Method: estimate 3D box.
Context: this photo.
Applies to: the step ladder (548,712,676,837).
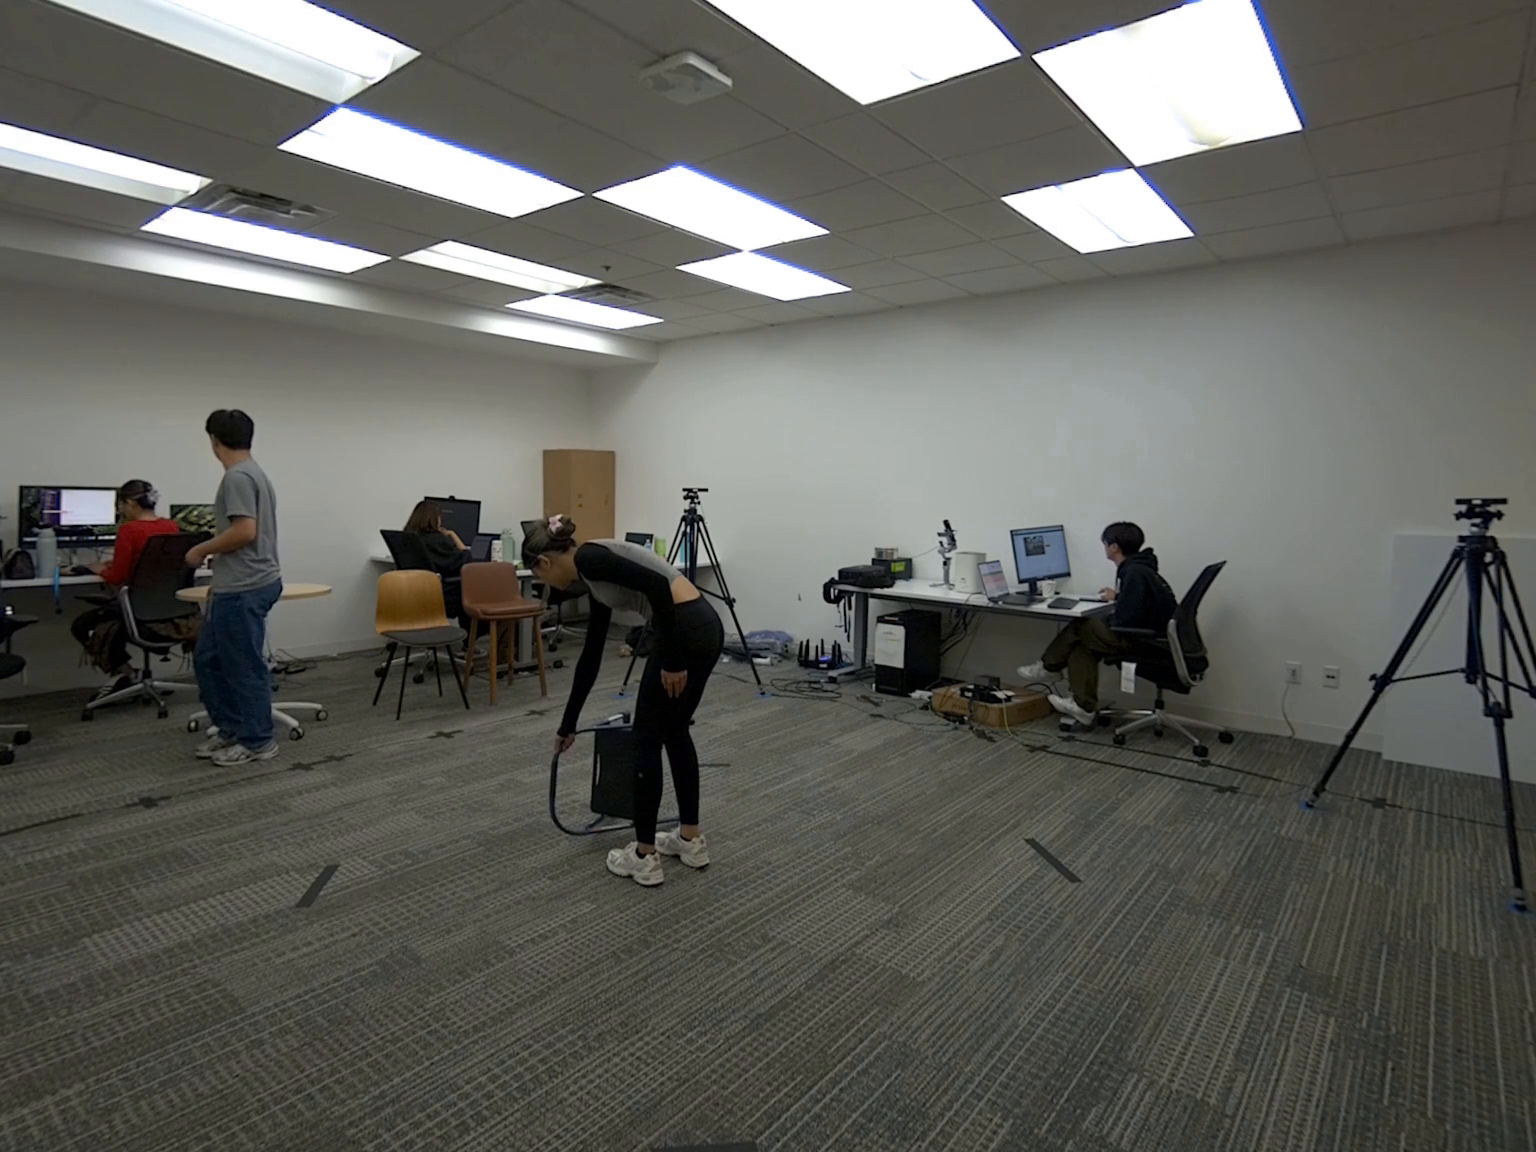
[{"bbox_3d":[-0.617,0.790,3.397,0.358,0.432,0.588,0,-4,27],"label":"step ladder"}]
